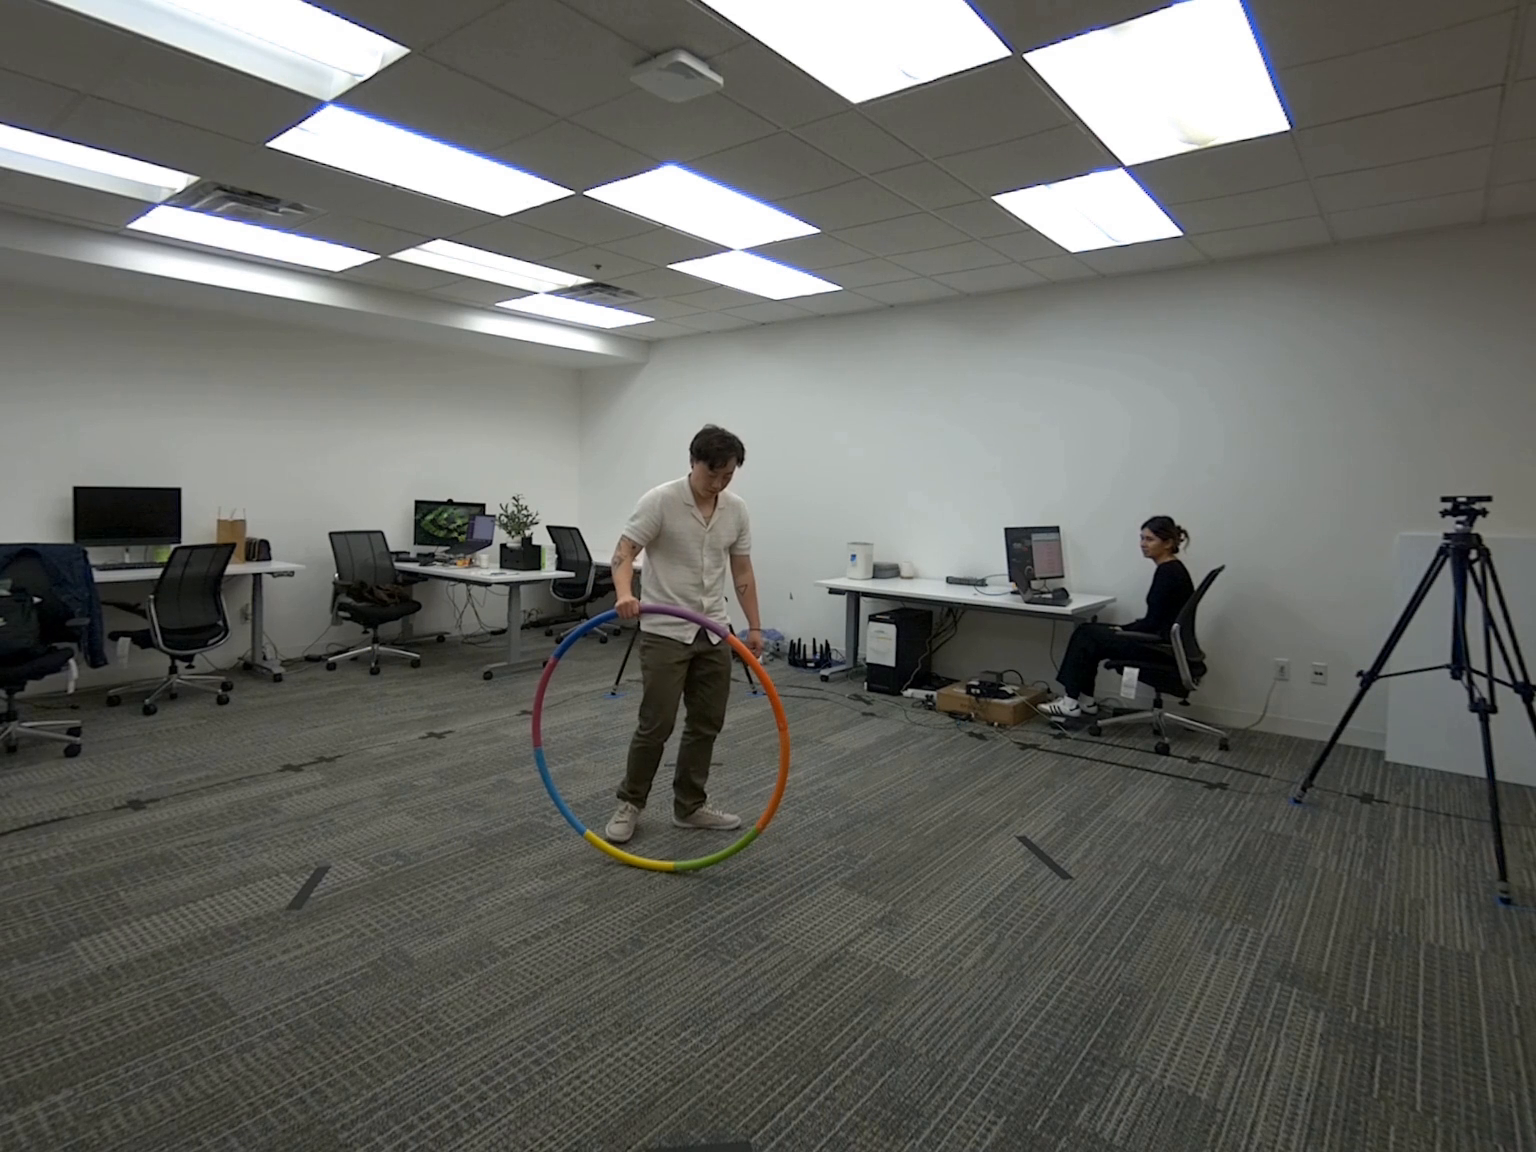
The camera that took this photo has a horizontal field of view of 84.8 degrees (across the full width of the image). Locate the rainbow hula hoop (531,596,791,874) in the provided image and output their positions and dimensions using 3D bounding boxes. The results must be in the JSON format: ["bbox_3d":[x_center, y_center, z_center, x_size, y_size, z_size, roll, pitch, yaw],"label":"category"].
[{"bbox_3d":[-0.416,0.587,3.060,0.998,0.974,0.035,2,5,18],"label":"rainbow hula hoop"}]
